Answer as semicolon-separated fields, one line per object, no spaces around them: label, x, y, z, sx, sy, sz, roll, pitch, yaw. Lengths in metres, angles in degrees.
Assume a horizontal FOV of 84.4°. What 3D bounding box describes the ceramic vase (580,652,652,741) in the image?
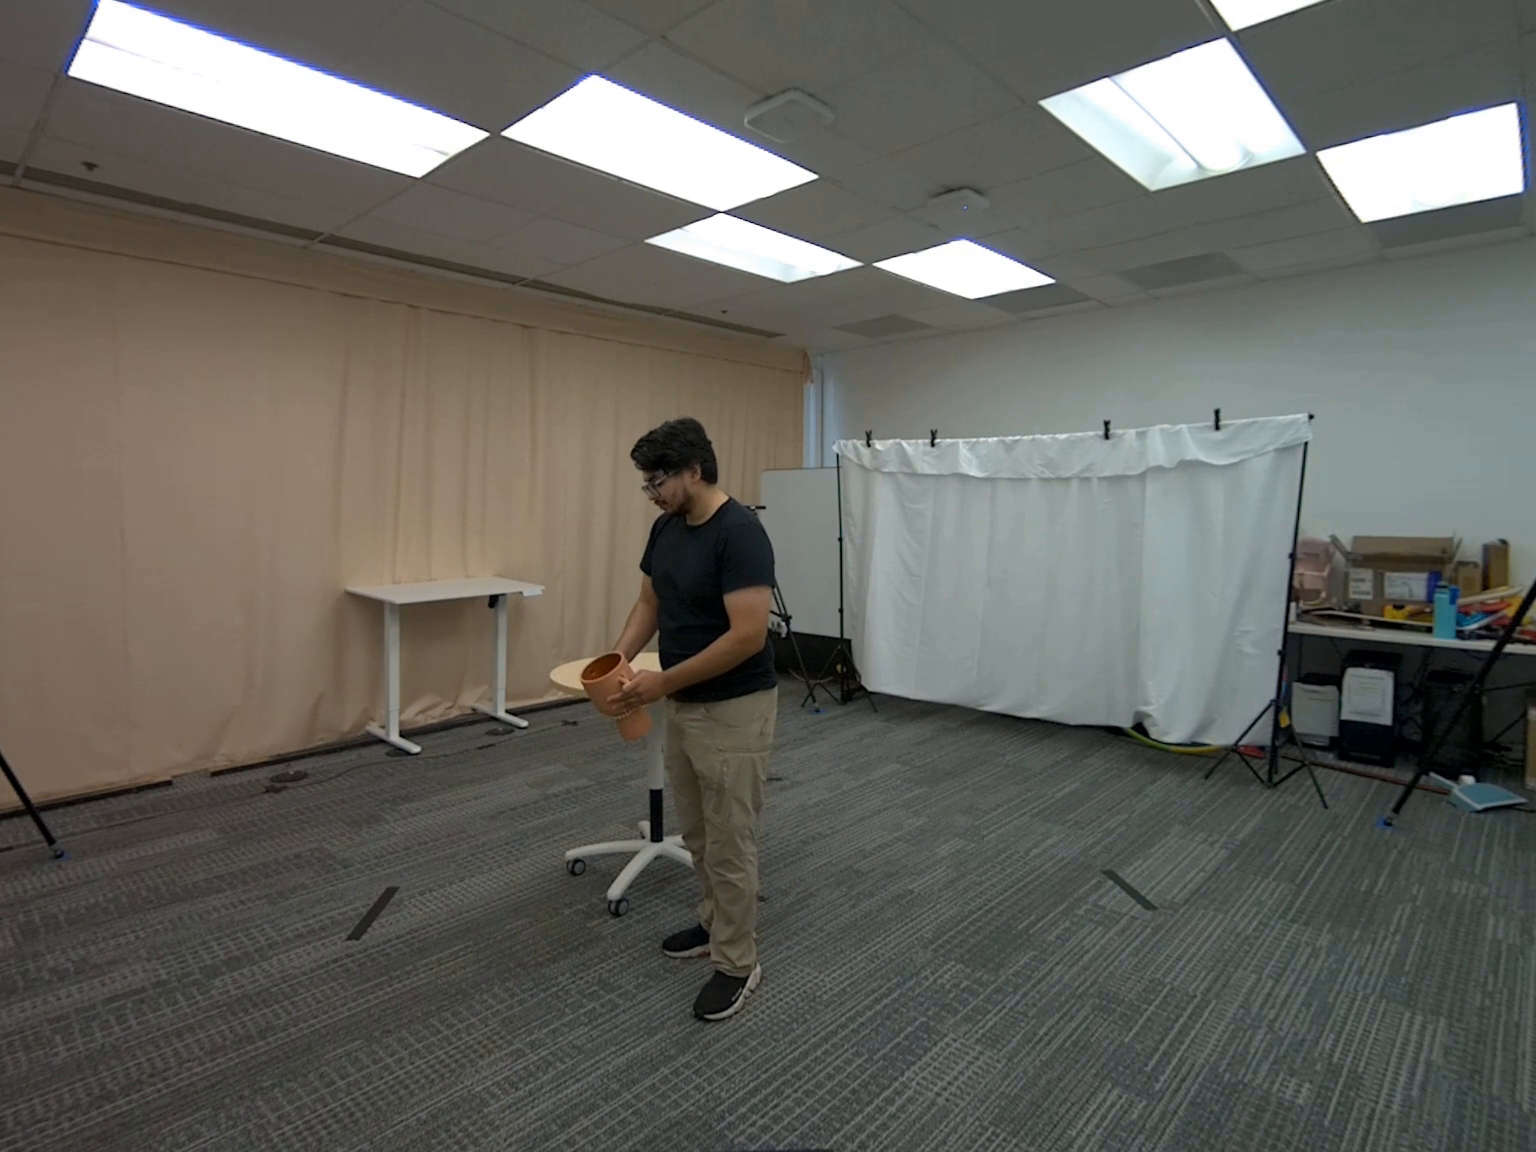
ceramic vase;-0.396;0.335;2.279;0.135;0.215;0.162;-24;22;1
